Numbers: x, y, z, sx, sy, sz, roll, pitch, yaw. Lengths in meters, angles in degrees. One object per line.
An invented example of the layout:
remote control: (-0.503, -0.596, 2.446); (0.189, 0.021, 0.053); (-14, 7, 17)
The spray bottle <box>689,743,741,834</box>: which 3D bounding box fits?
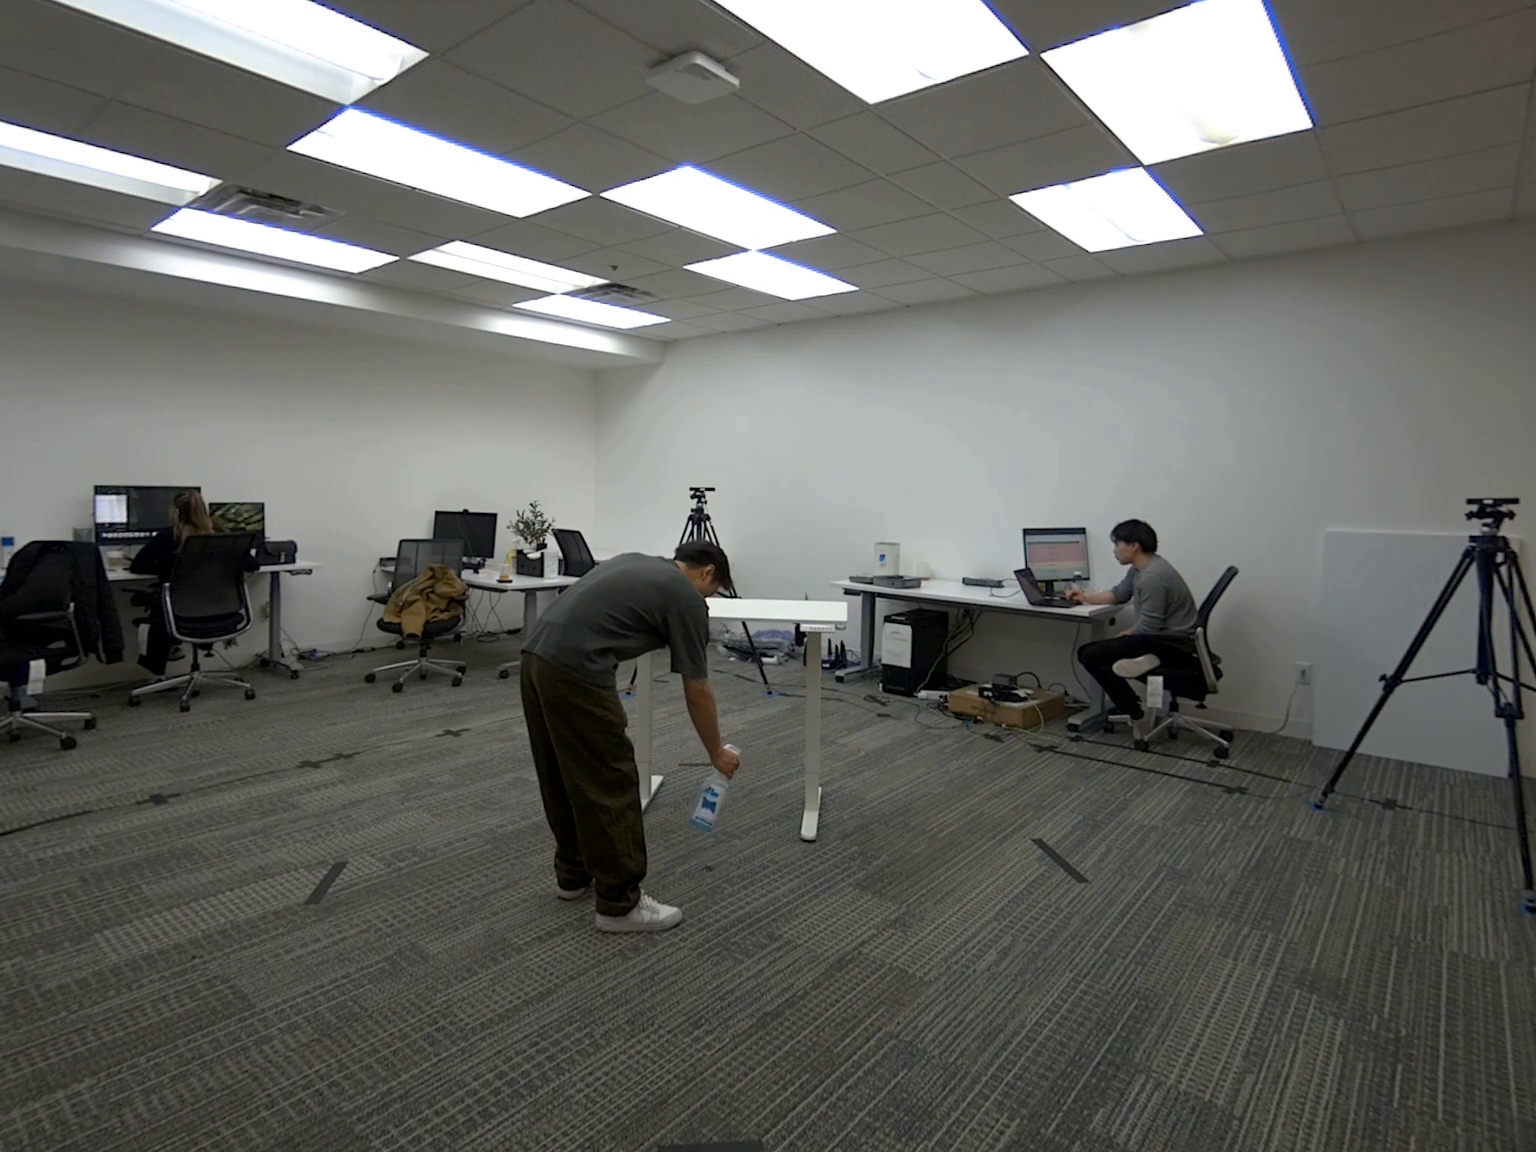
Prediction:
spray bottle: (-0.185, 0.721, 2.886); (0.088, 0.300, 0.088); (31, -24, -18)
